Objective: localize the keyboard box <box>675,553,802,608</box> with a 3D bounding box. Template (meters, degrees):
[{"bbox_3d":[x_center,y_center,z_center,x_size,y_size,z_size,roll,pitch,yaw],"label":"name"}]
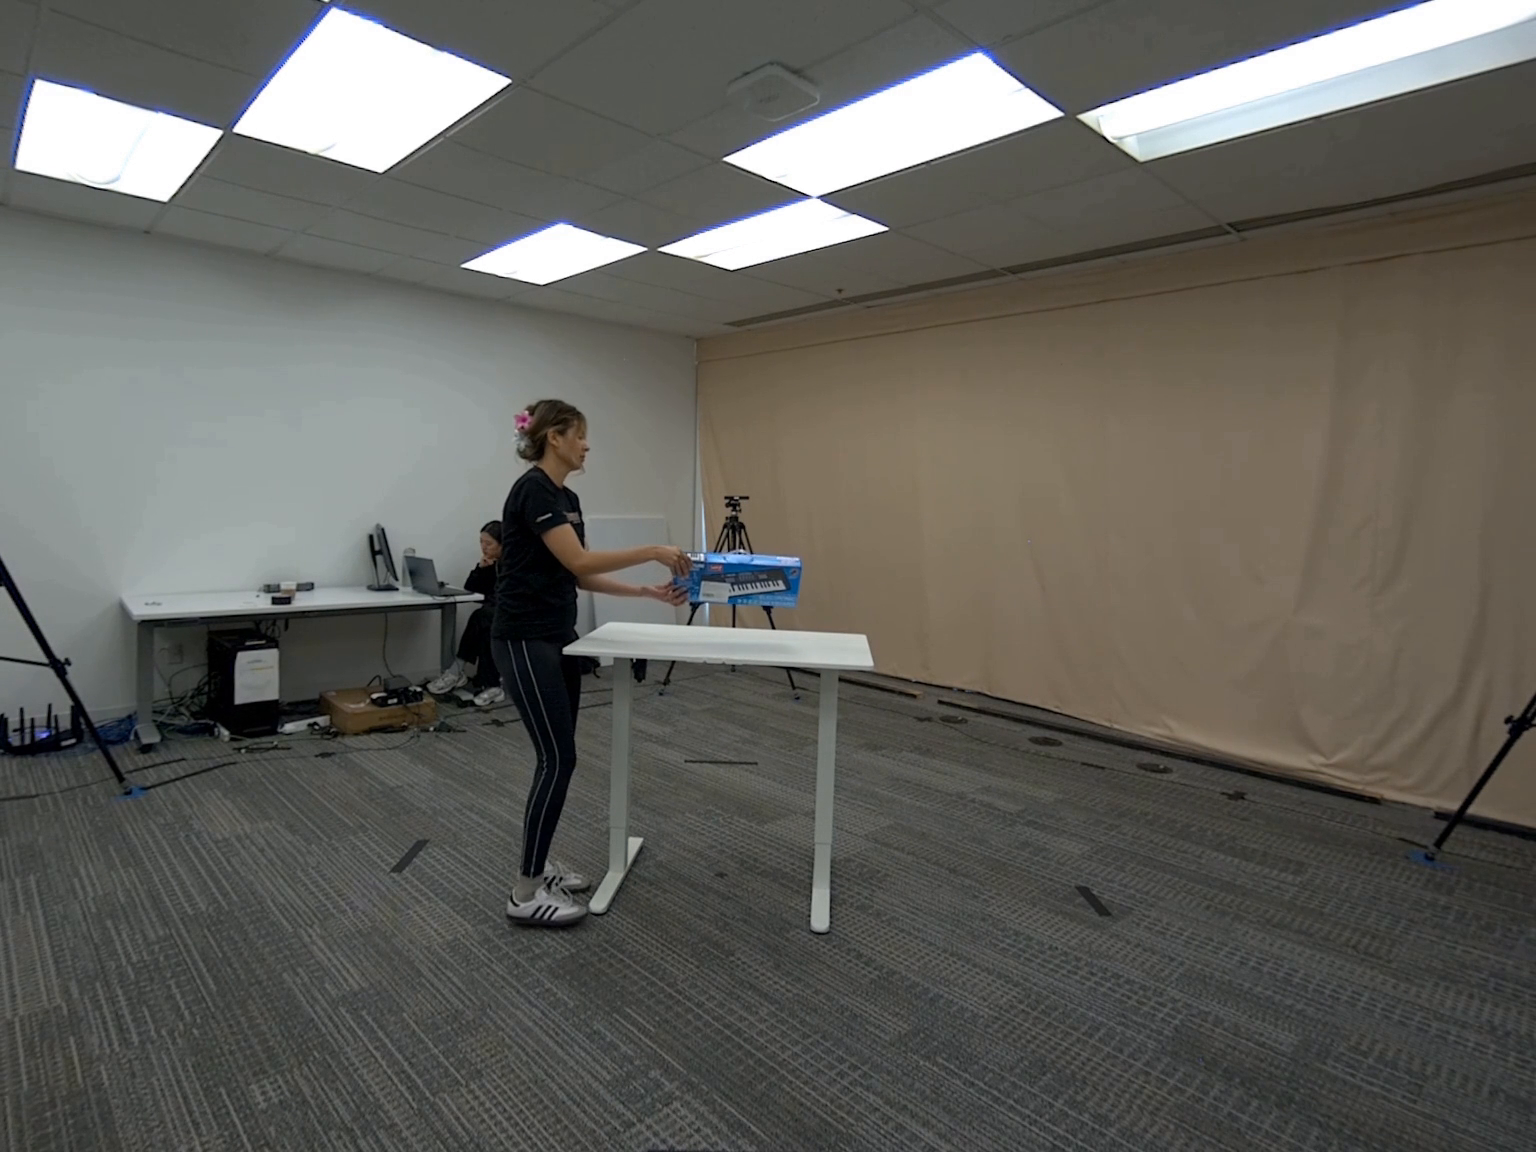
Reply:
[{"bbox_3d":[-0.121,0.016,2.908,0.435,0.173,0.060,3,32,-5],"label":"keyboard box"}]
